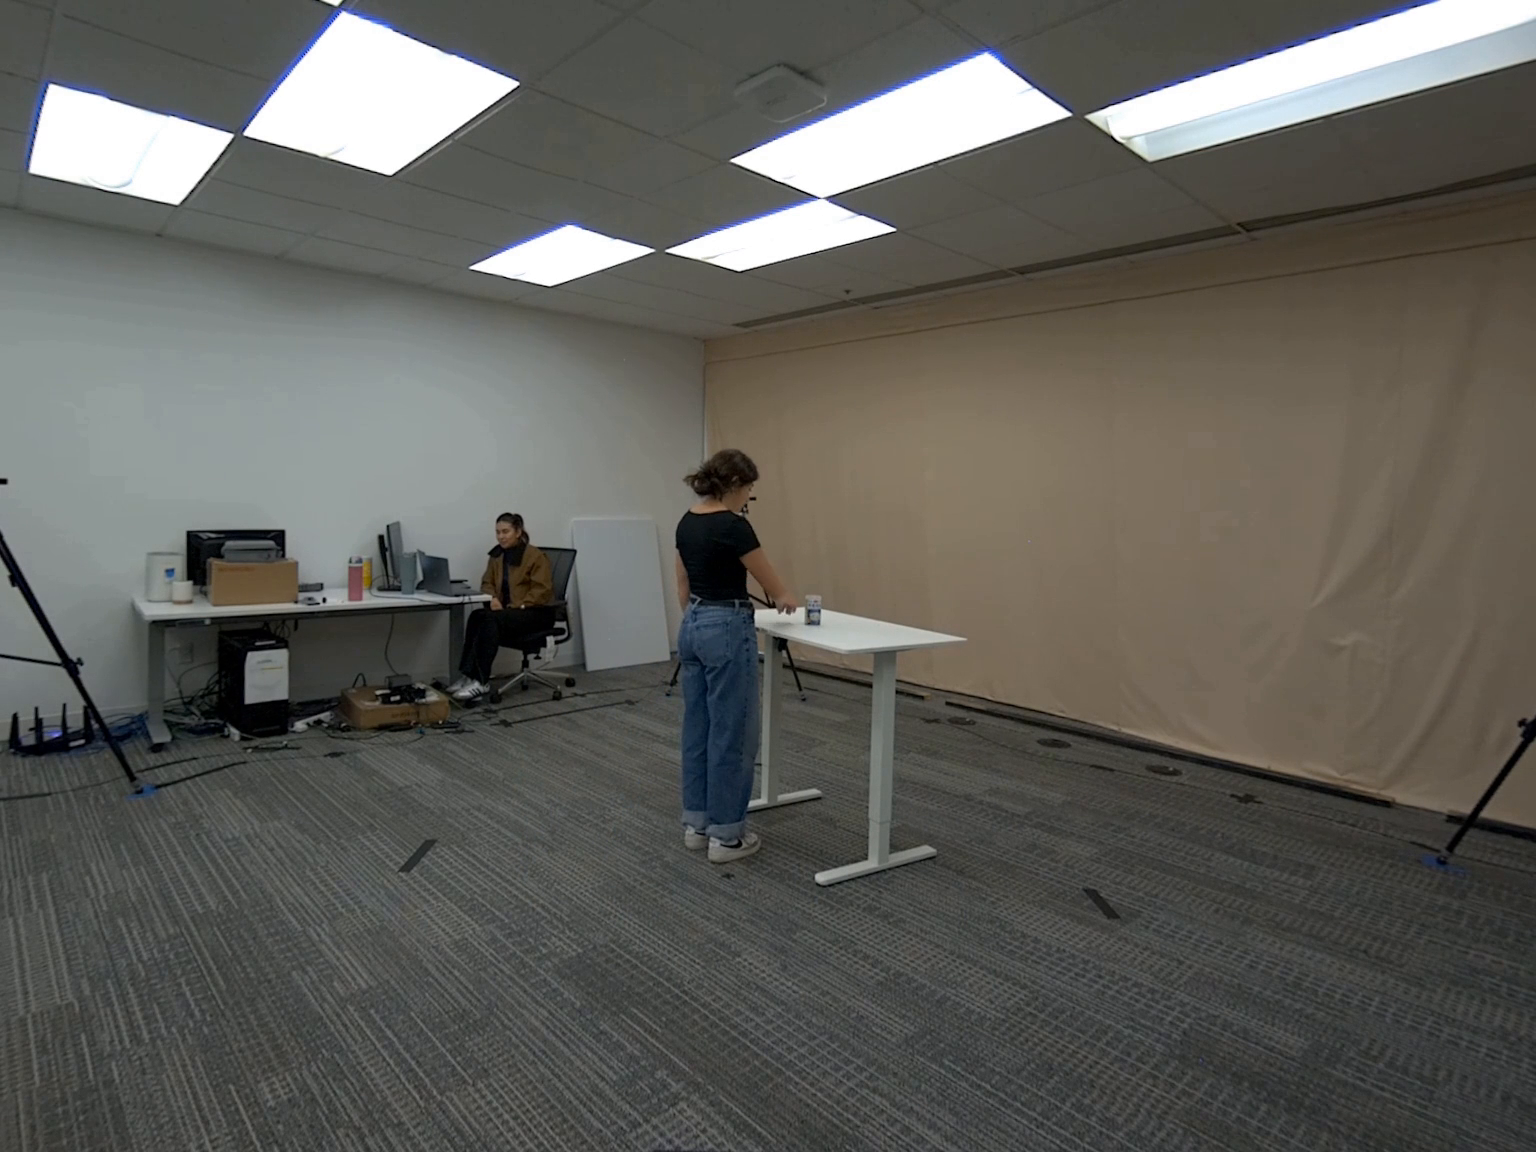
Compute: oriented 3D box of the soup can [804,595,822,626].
[{"bbox_3d":[0.175,0.141,3.470,0.067,0.121,0.067,1,8,-1],"label":"soup can"}]
